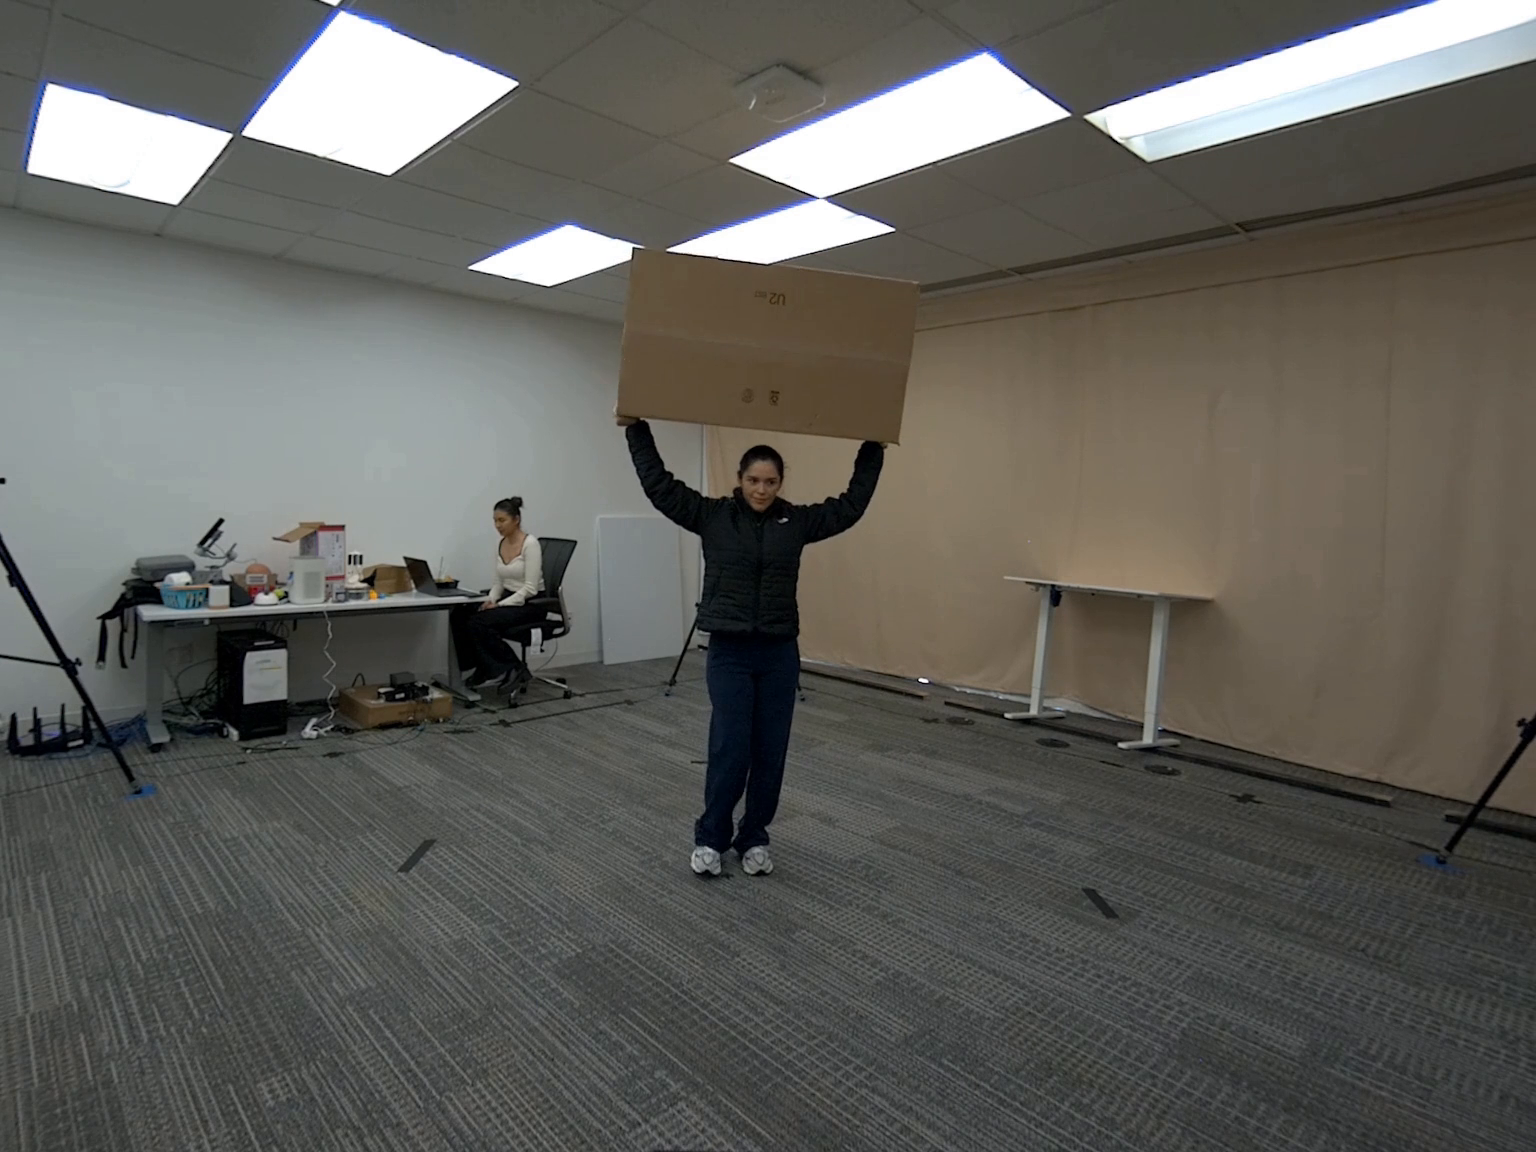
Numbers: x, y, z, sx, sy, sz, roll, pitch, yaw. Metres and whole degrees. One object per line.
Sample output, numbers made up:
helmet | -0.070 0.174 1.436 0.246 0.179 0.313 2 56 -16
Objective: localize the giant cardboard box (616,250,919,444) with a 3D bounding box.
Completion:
giant cardboard box | -0.028 -0.828 3.137 1.020 0.581 0.452 5 8 -8
